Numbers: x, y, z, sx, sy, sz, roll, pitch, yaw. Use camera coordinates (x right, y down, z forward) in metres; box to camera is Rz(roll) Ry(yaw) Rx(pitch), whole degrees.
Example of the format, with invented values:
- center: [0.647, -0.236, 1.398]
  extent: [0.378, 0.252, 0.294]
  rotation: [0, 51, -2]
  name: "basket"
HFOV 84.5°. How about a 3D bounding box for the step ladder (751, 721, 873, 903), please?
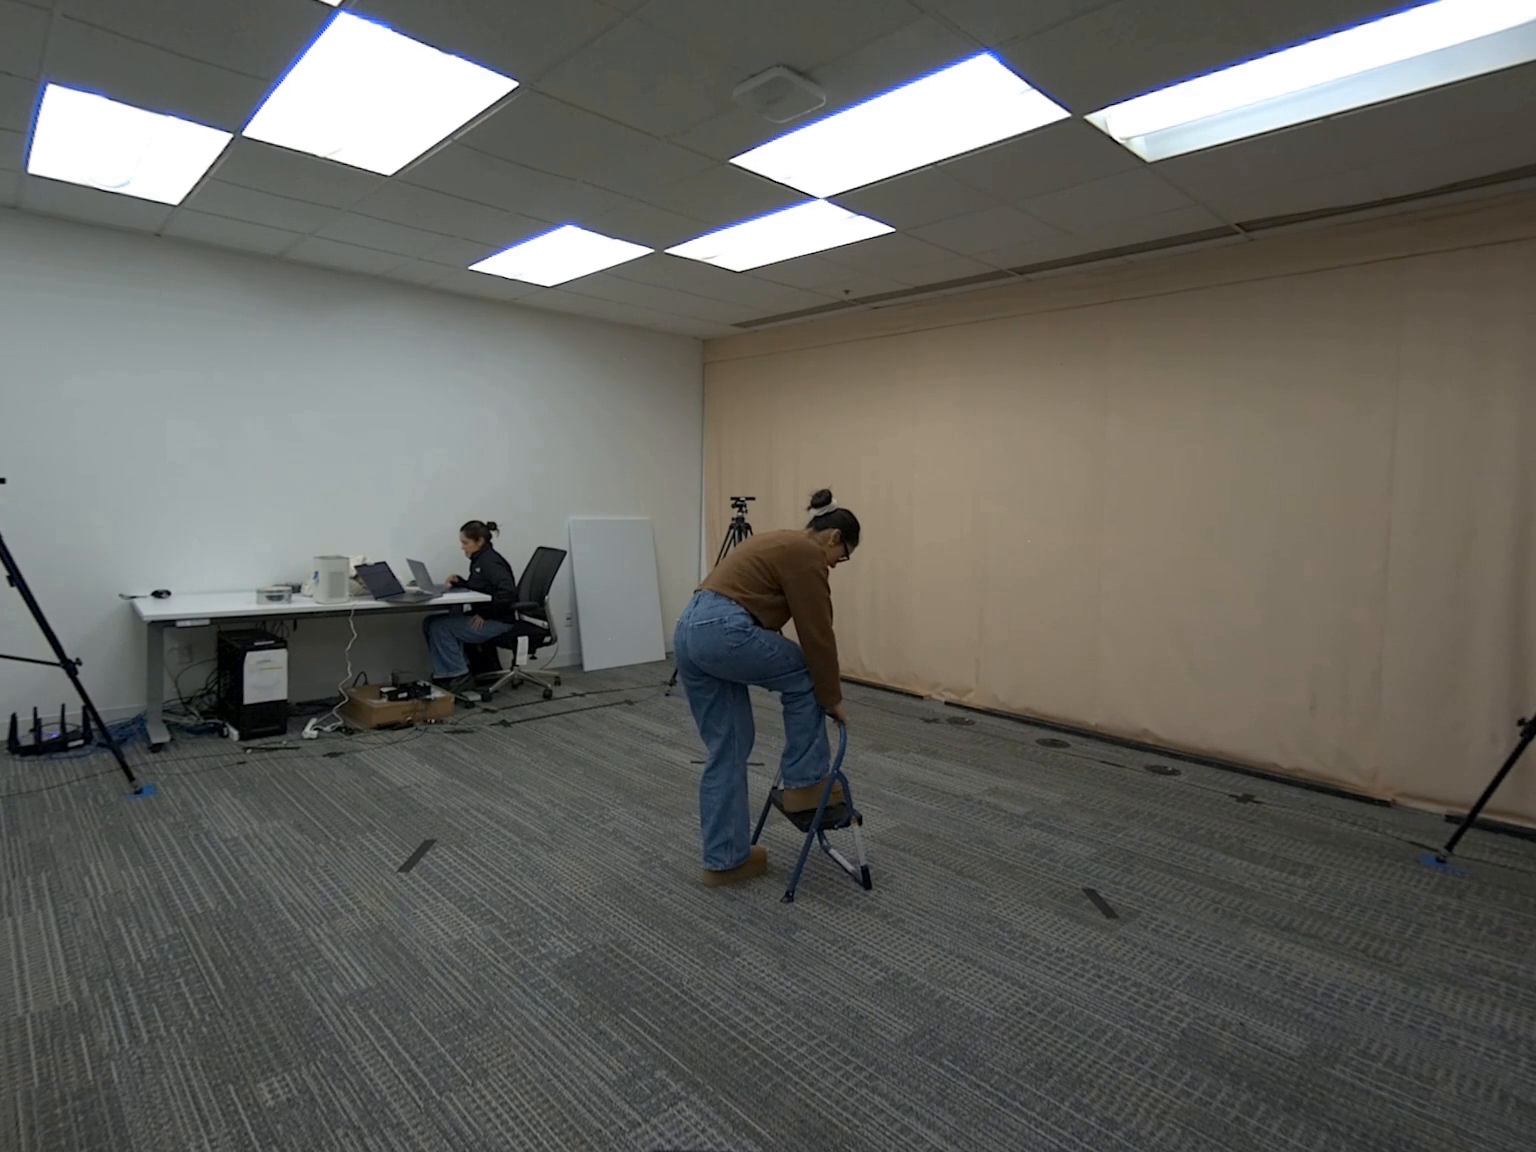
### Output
- center: [0.142, 0.808, 3.139]
  extent: [0.344, 0.604, 0.438]
  rotation: [0, 4, -20]
  name: "step ladder"
